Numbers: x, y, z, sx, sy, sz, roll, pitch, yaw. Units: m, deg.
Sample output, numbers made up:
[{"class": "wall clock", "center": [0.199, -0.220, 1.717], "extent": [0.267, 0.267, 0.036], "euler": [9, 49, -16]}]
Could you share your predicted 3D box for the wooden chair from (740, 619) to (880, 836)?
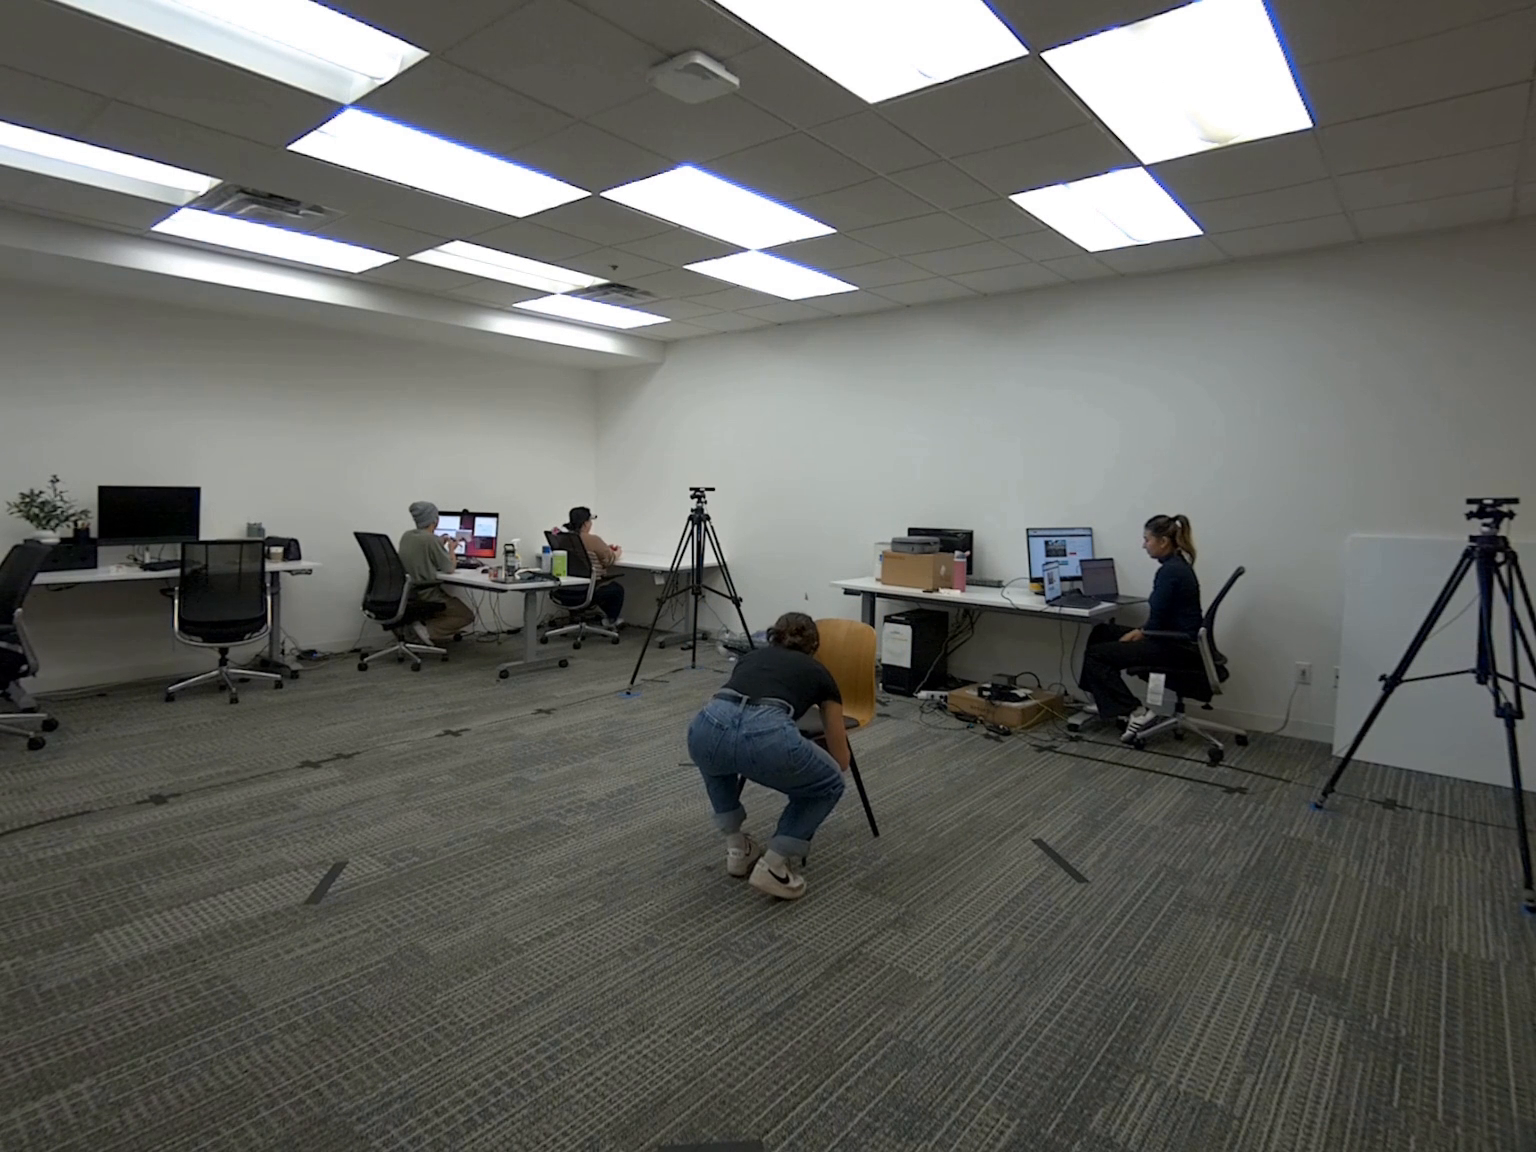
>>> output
[{"class": "wooden chair", "center": [0.137, 0.612, 3.421], "extent": [0.506, 0.877, 0.495], "euler": [3, 2, -44]}]
